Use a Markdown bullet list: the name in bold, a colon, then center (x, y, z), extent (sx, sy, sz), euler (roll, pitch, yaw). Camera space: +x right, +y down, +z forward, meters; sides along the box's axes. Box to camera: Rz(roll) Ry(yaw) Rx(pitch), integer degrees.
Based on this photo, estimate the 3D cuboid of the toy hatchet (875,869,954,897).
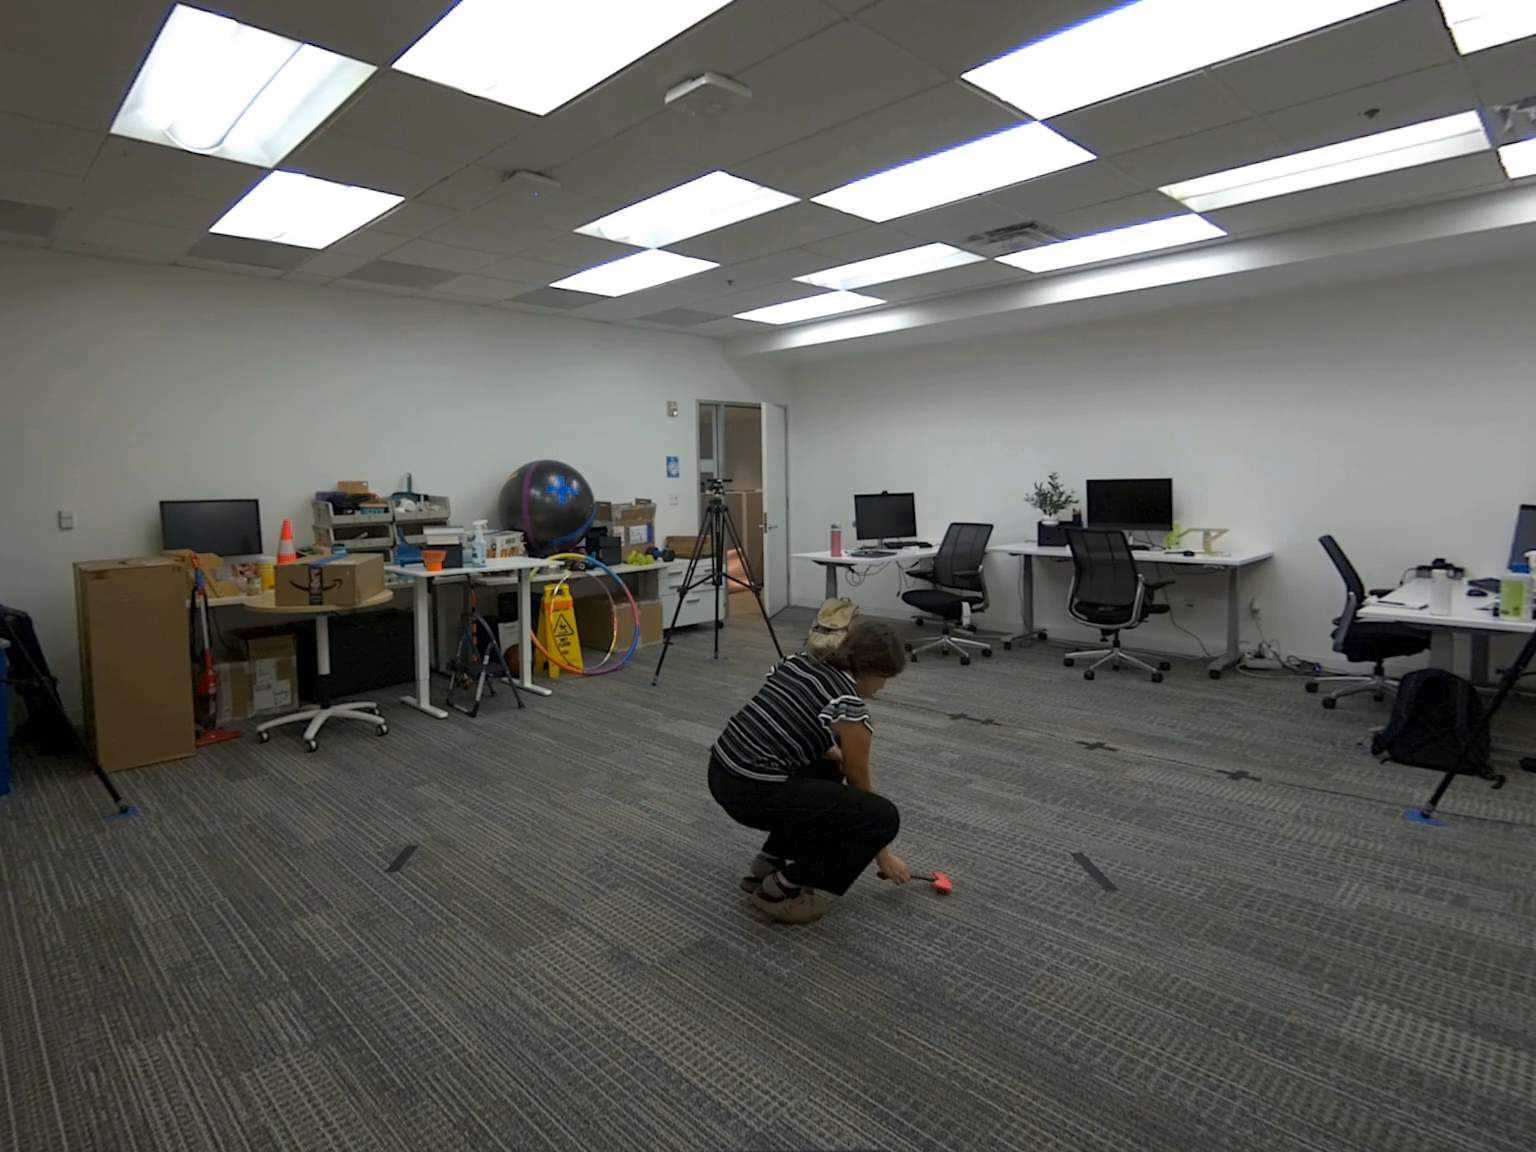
- **toy hatchet**: center (0.501, 1.004, 2.847), extent (0.262, 0.029, 0.135), euler (10, 5, -29)
